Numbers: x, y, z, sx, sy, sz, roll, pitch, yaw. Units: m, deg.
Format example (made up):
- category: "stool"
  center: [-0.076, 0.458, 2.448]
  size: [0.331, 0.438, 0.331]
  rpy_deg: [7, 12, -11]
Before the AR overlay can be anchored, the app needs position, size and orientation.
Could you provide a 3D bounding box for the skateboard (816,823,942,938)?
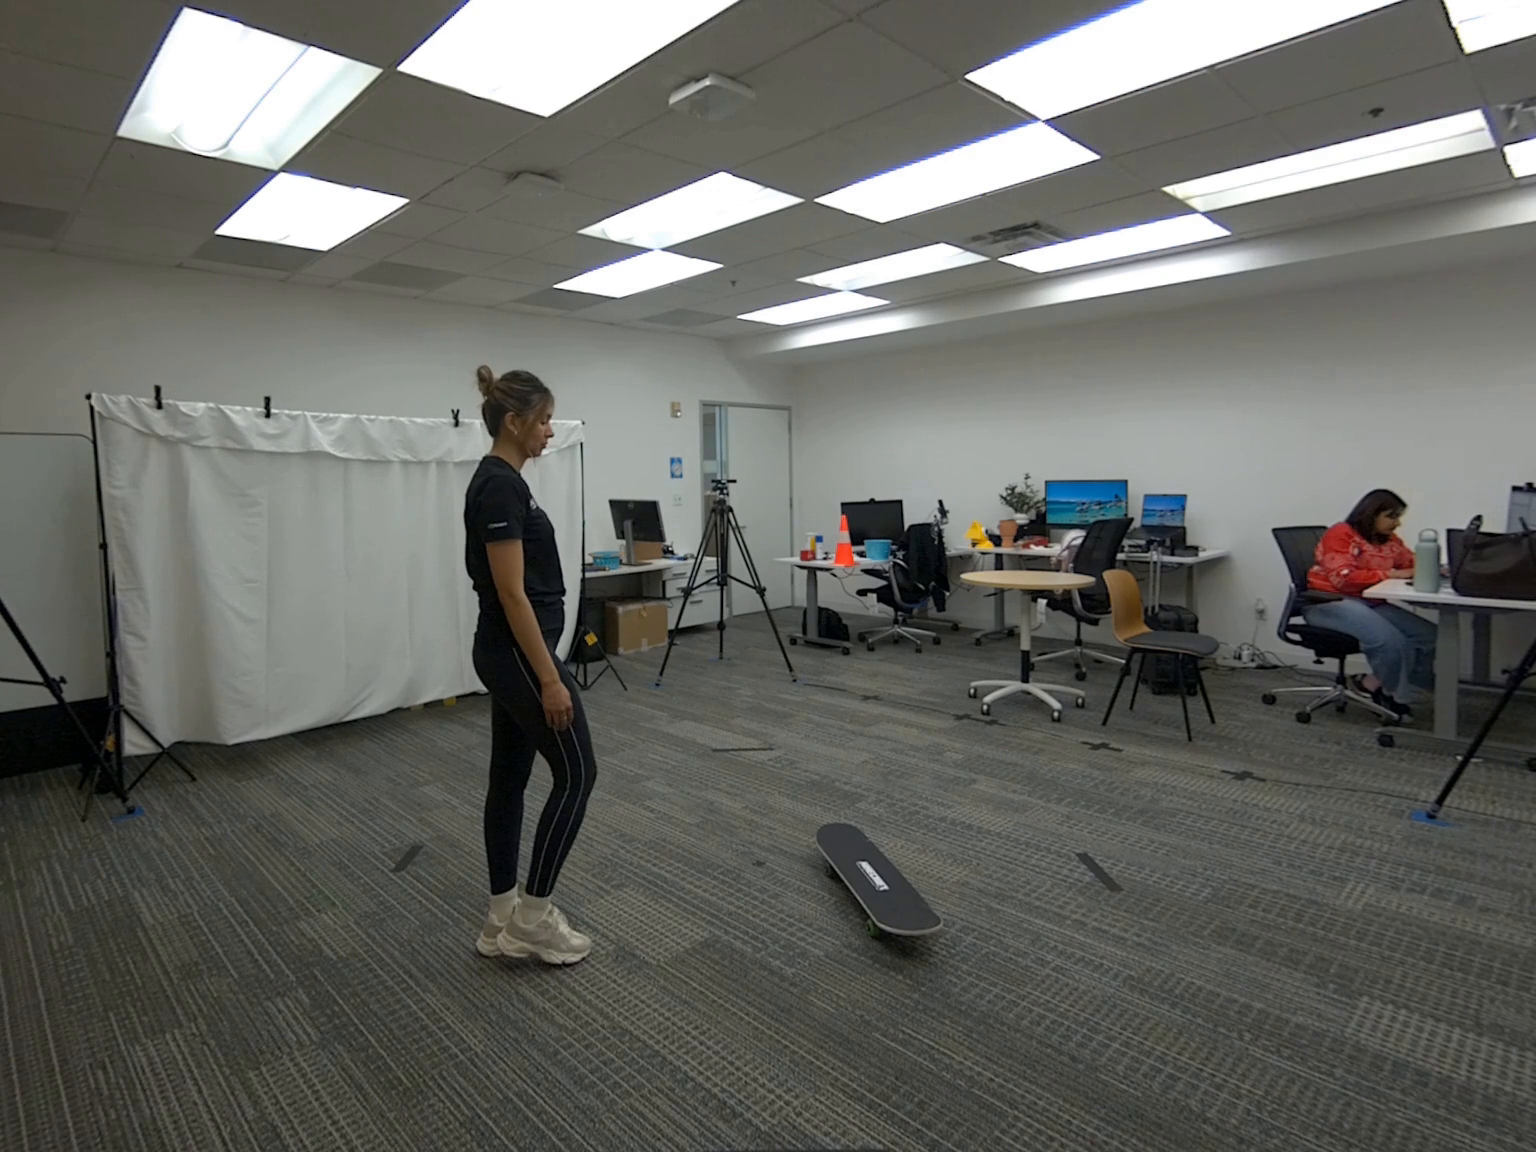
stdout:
- category: "skateboard"
  center: [0.350, 1.016, 2.814]
  size: [0.191, 0.110, 0.798]
  rpy_deg: [-3, 6, -13]
